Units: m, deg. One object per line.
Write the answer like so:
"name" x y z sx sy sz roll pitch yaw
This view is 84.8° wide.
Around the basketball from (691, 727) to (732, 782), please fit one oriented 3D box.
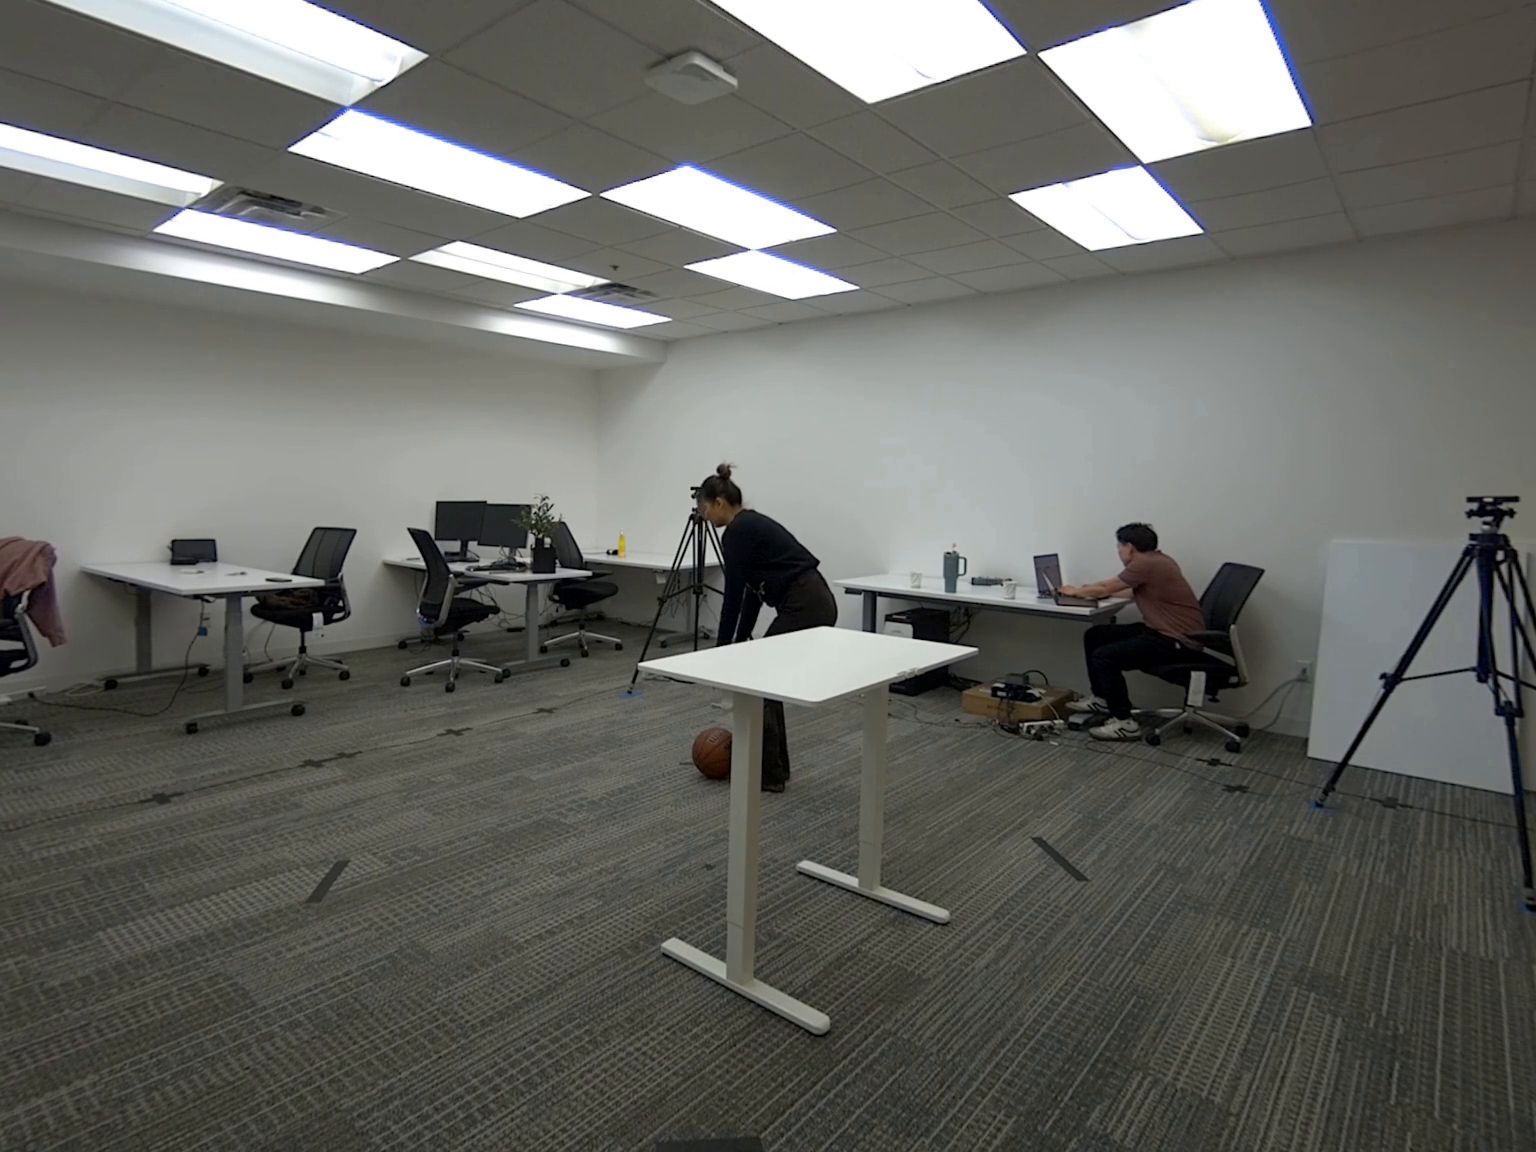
"basketball" -0.261 0.853 4.126 0.235 0.235 0.237 1 4 -2
